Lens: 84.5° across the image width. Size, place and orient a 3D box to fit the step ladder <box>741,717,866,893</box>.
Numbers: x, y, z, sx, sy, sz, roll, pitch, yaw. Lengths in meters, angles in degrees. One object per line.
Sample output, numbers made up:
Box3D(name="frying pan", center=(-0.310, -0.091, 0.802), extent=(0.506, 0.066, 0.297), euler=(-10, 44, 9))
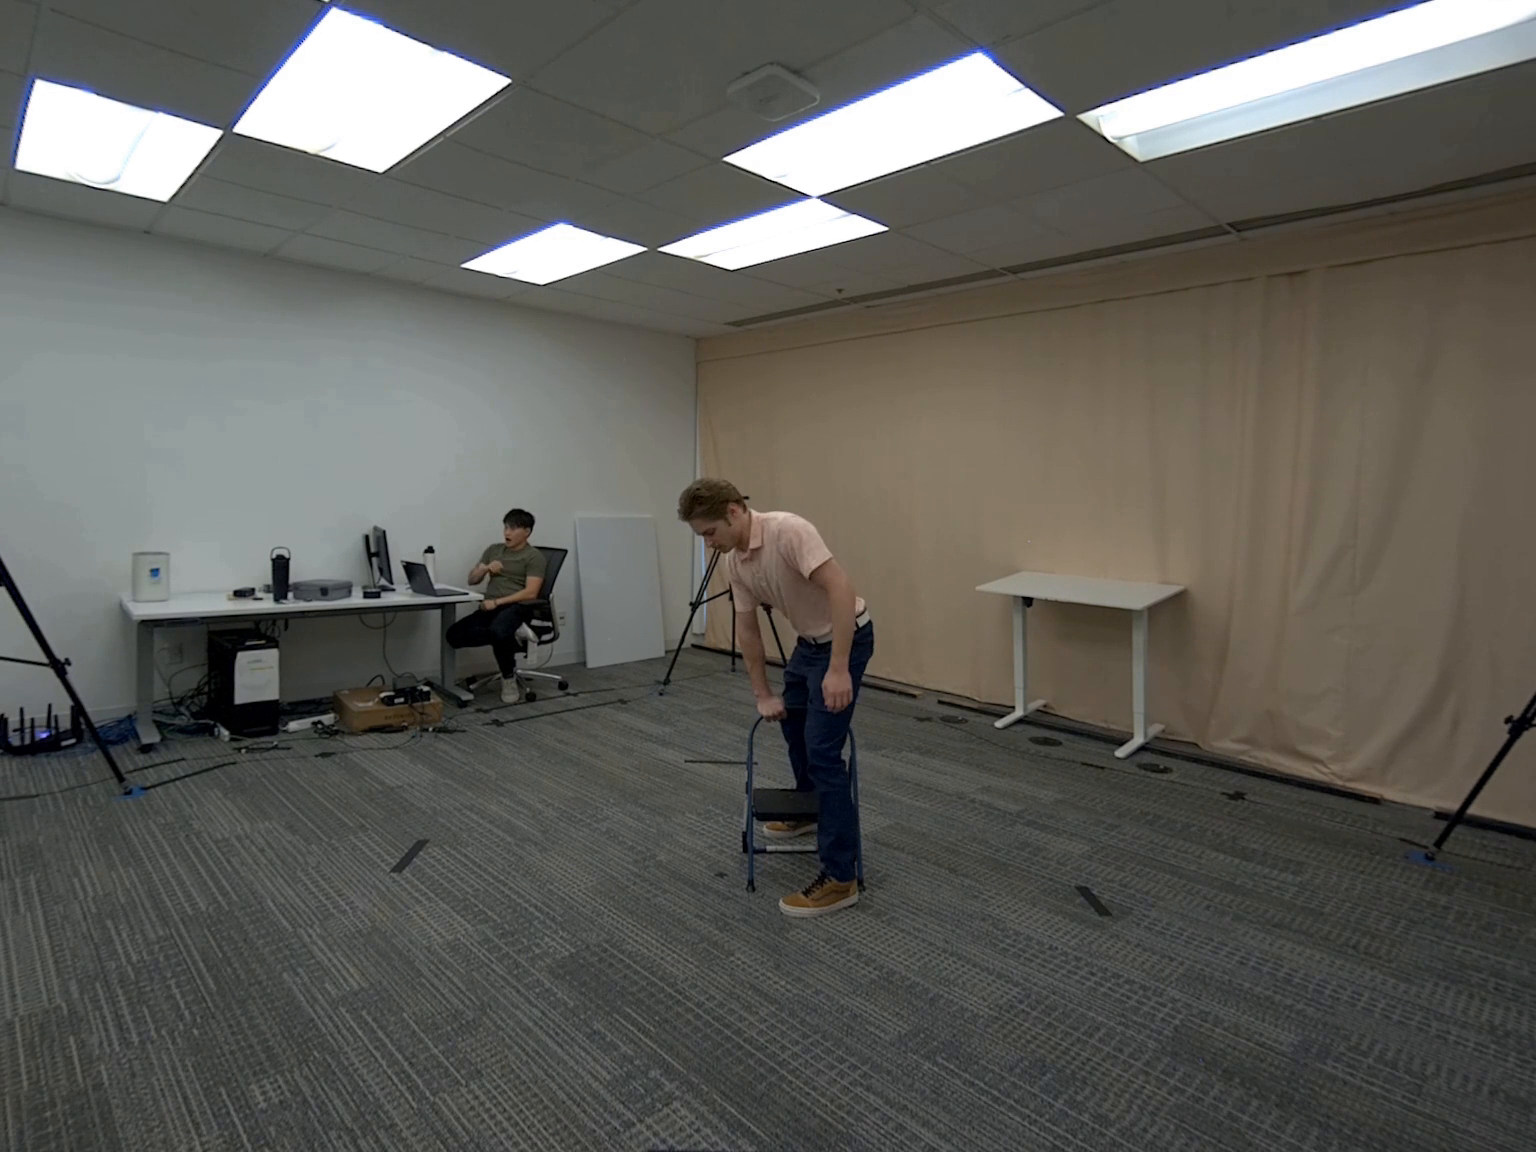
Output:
Box3D(name="step ladder", center=(0.121, 0.807, 3.146), extent=(0.429, 0.604, 0.352), euler=(2, 4, -5))
